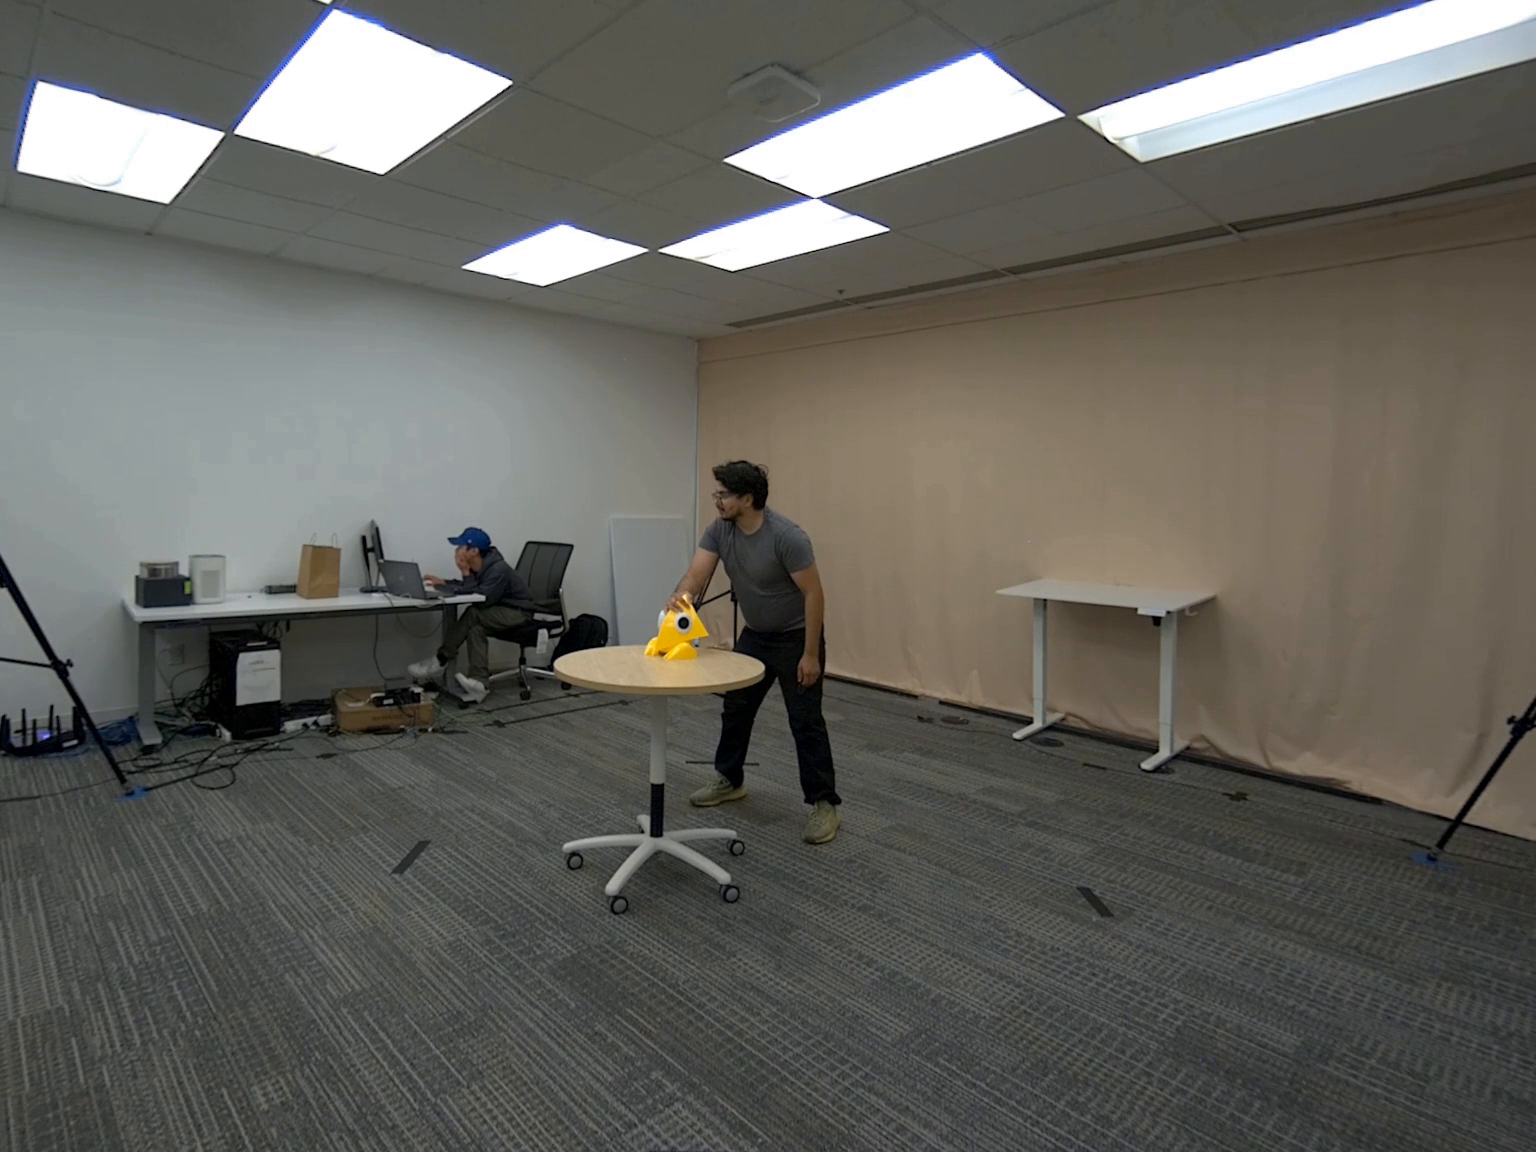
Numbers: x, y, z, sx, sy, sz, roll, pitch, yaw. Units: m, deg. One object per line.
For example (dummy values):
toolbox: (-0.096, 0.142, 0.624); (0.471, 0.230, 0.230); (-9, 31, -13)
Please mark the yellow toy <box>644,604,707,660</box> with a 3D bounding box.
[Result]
yellow toy: (-0.371, 0.191, 3.261); (0.210, 0.230, 0.189); (4, 5, 39)
